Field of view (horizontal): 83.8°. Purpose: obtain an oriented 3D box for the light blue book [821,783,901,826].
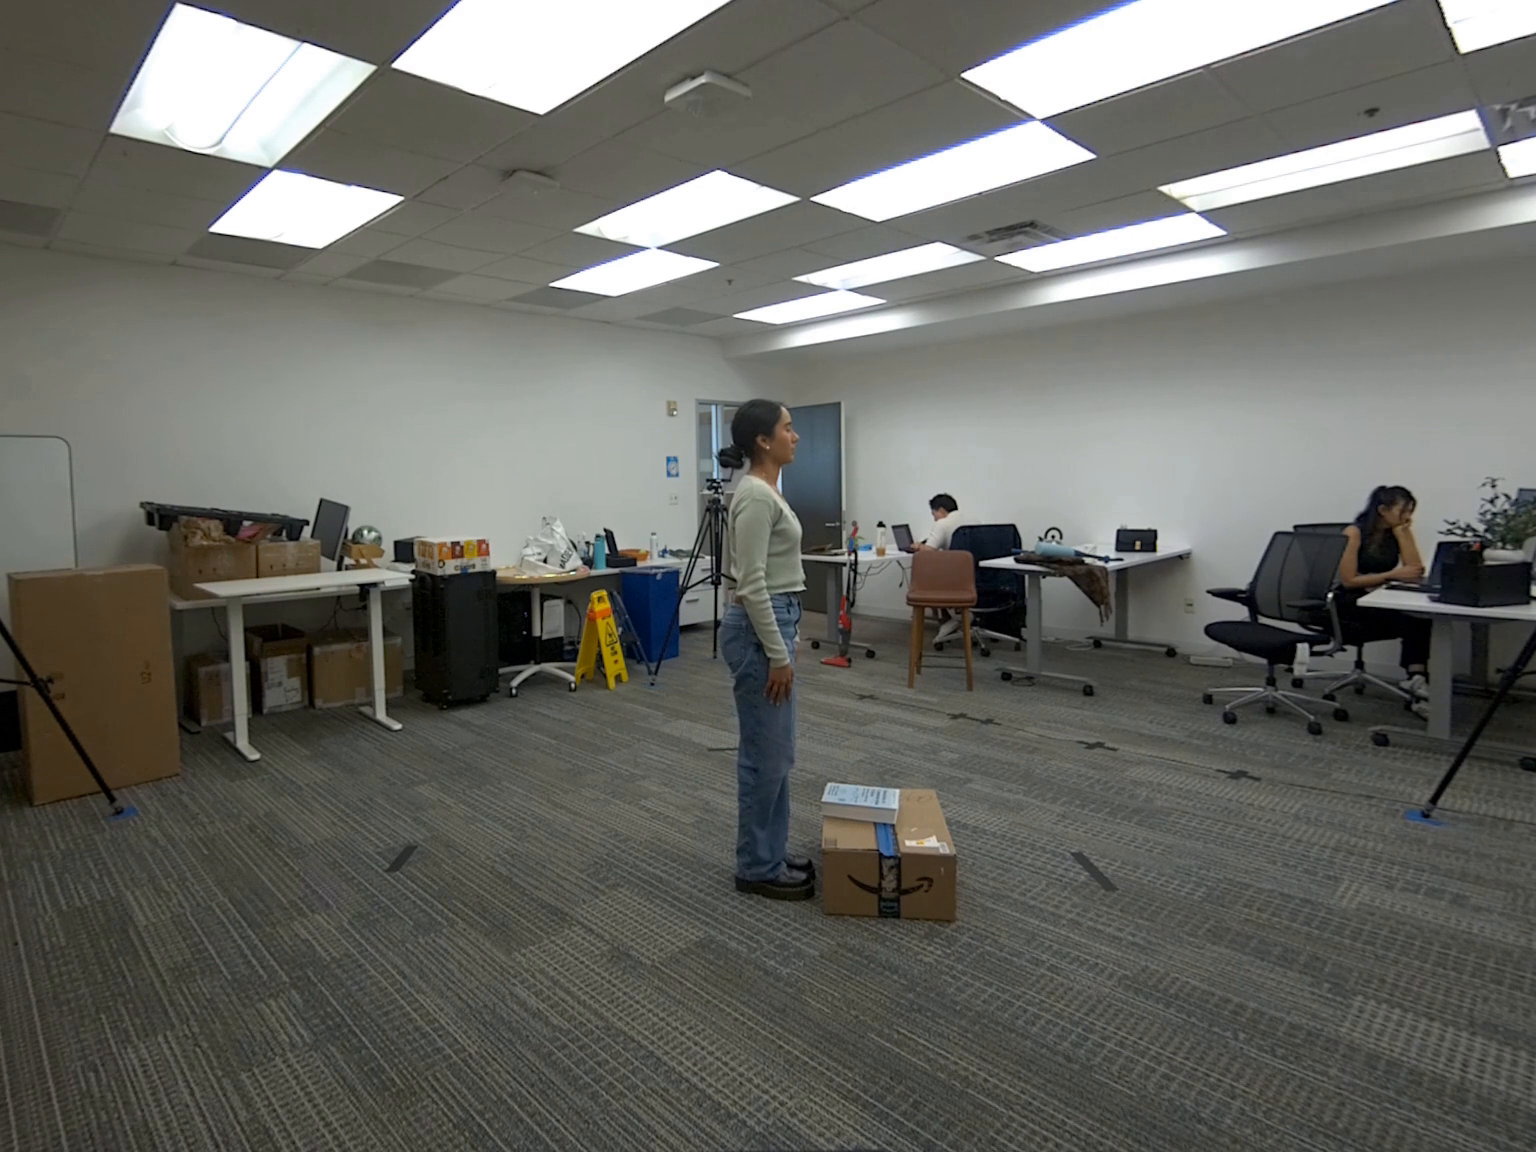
[{"bbox_3d":[0.333,0.801,3.038,0.265,0.058,0.190,2,8,14],"label":"light blue book"}]
